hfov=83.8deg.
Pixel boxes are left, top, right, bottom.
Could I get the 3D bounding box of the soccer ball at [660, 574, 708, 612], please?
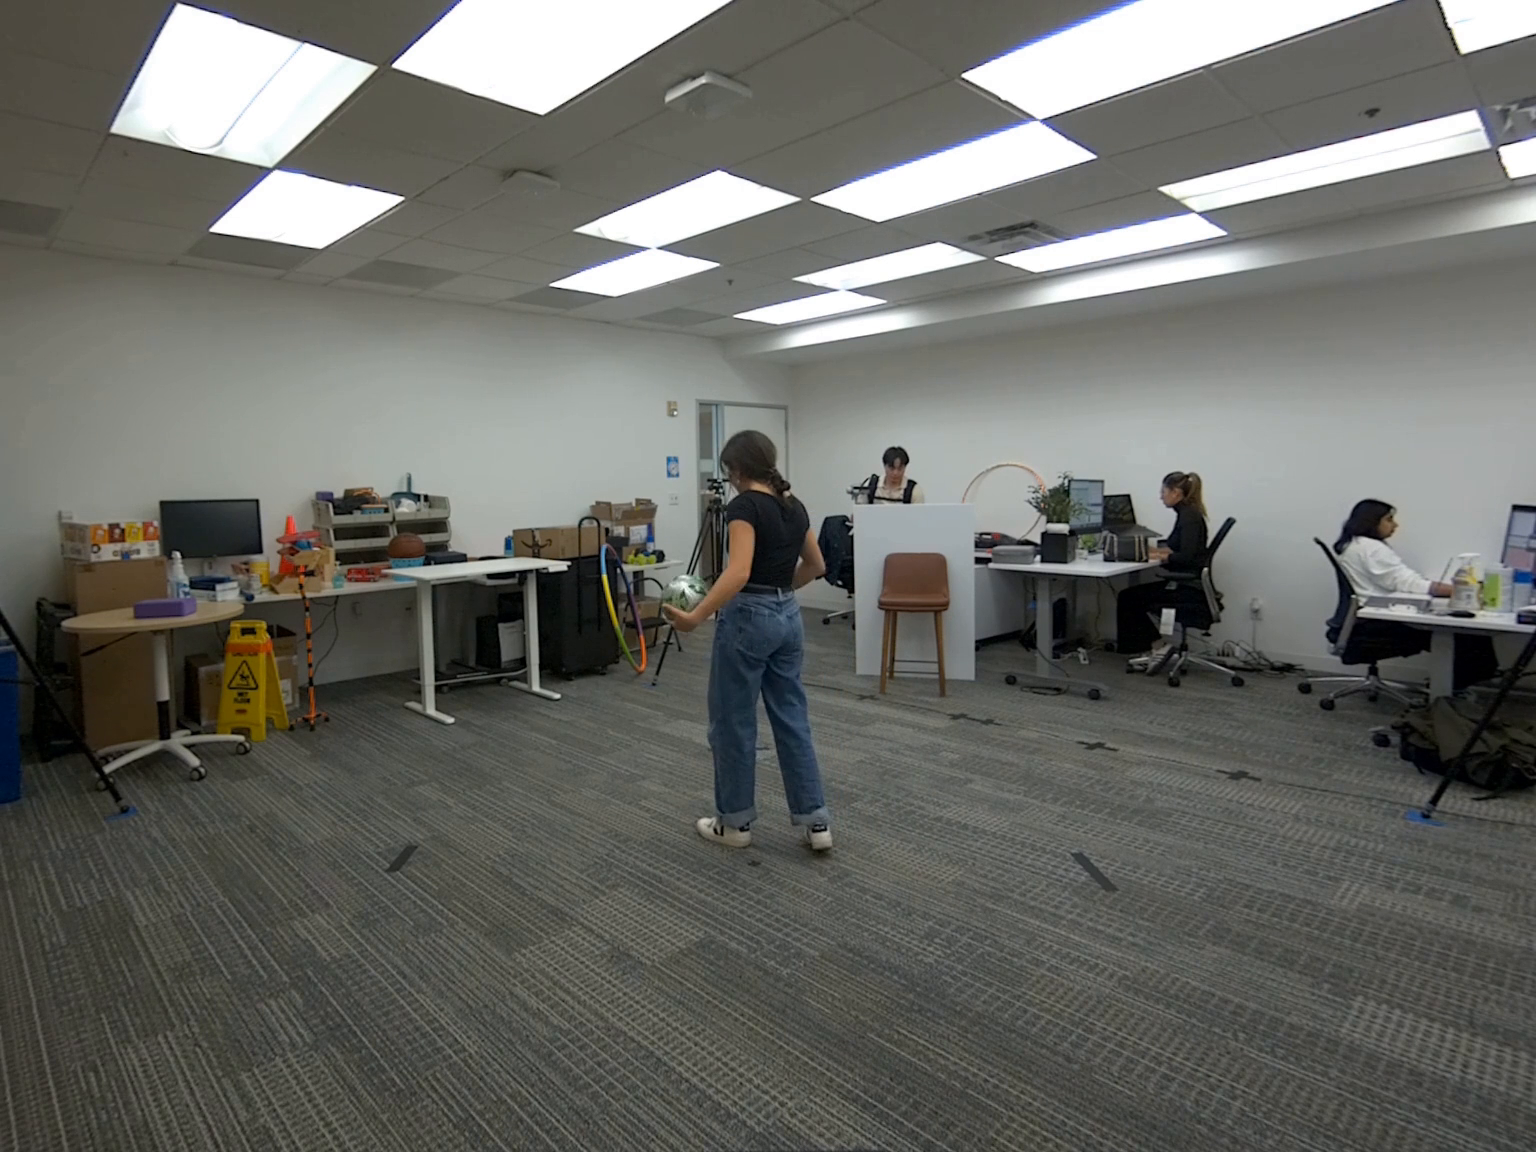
[{"bbox_3d":[-0.260,0.085,3.053,0.187,0.187,0.188,-1,5,-2],"label":"soccer ball"}]
